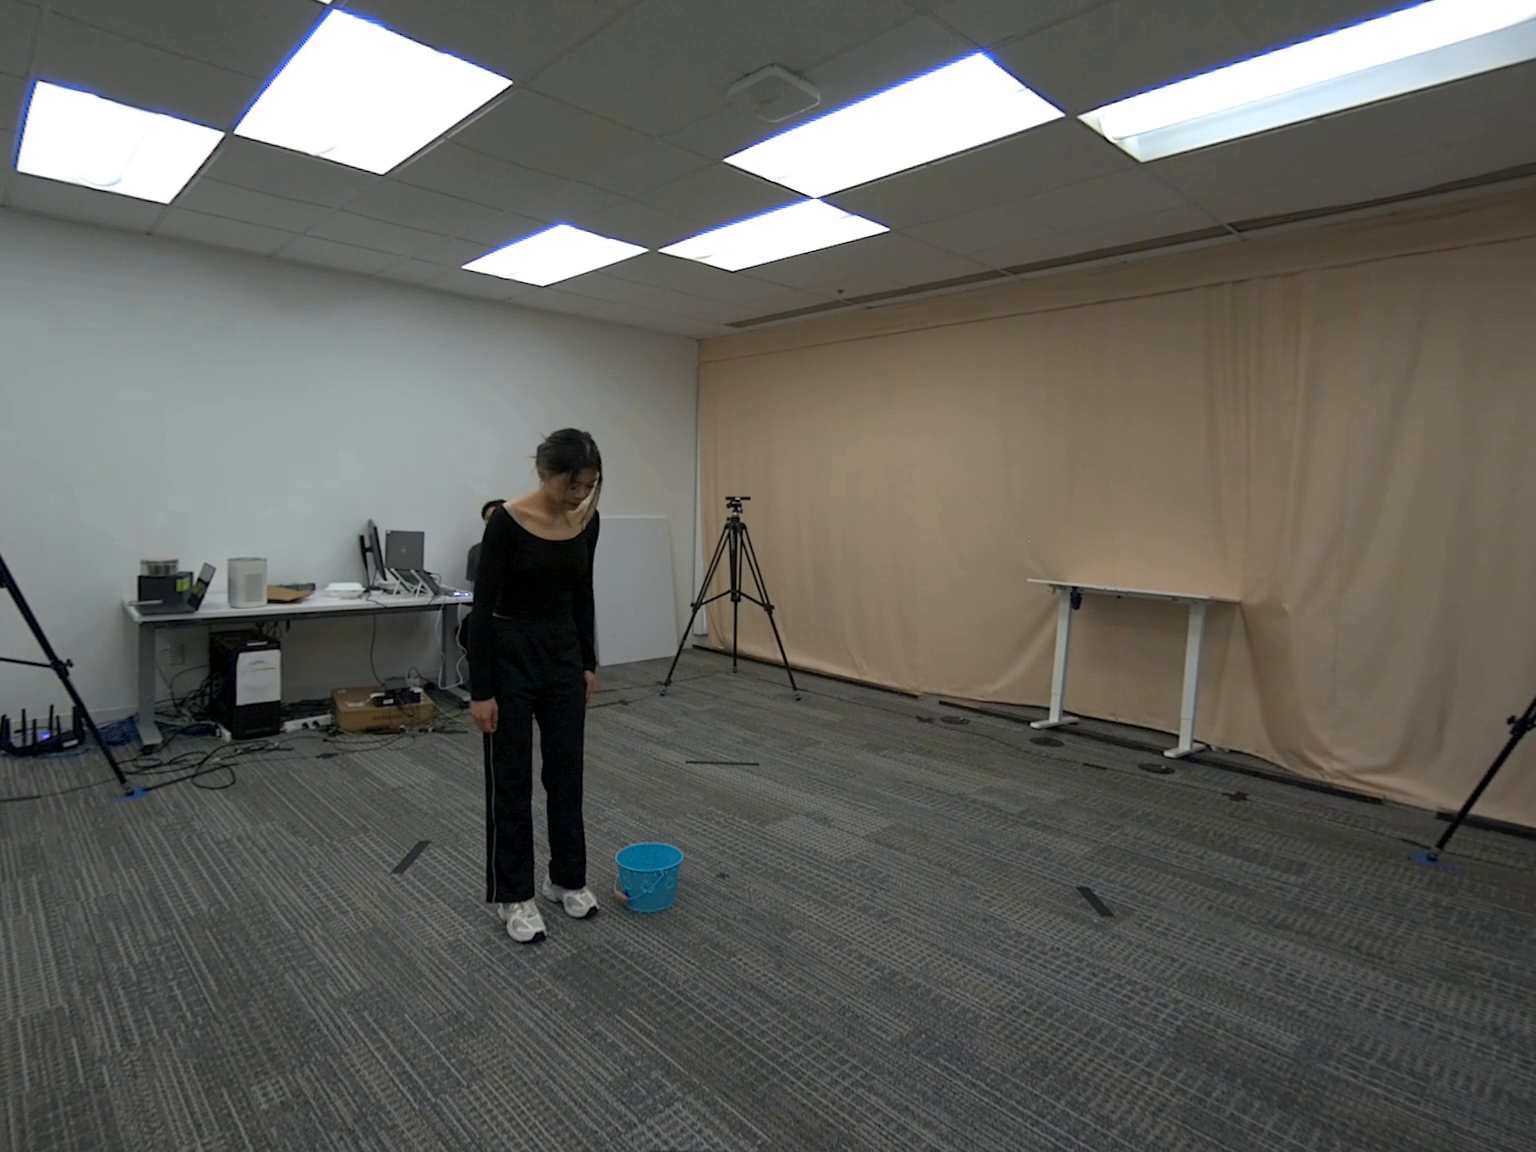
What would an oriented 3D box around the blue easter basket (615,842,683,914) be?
[{"bbox_3d":[-0.425,1.043,2.906,0.243,0.155,0.244,1,4,-1],"label":"blue easter basket"}]
